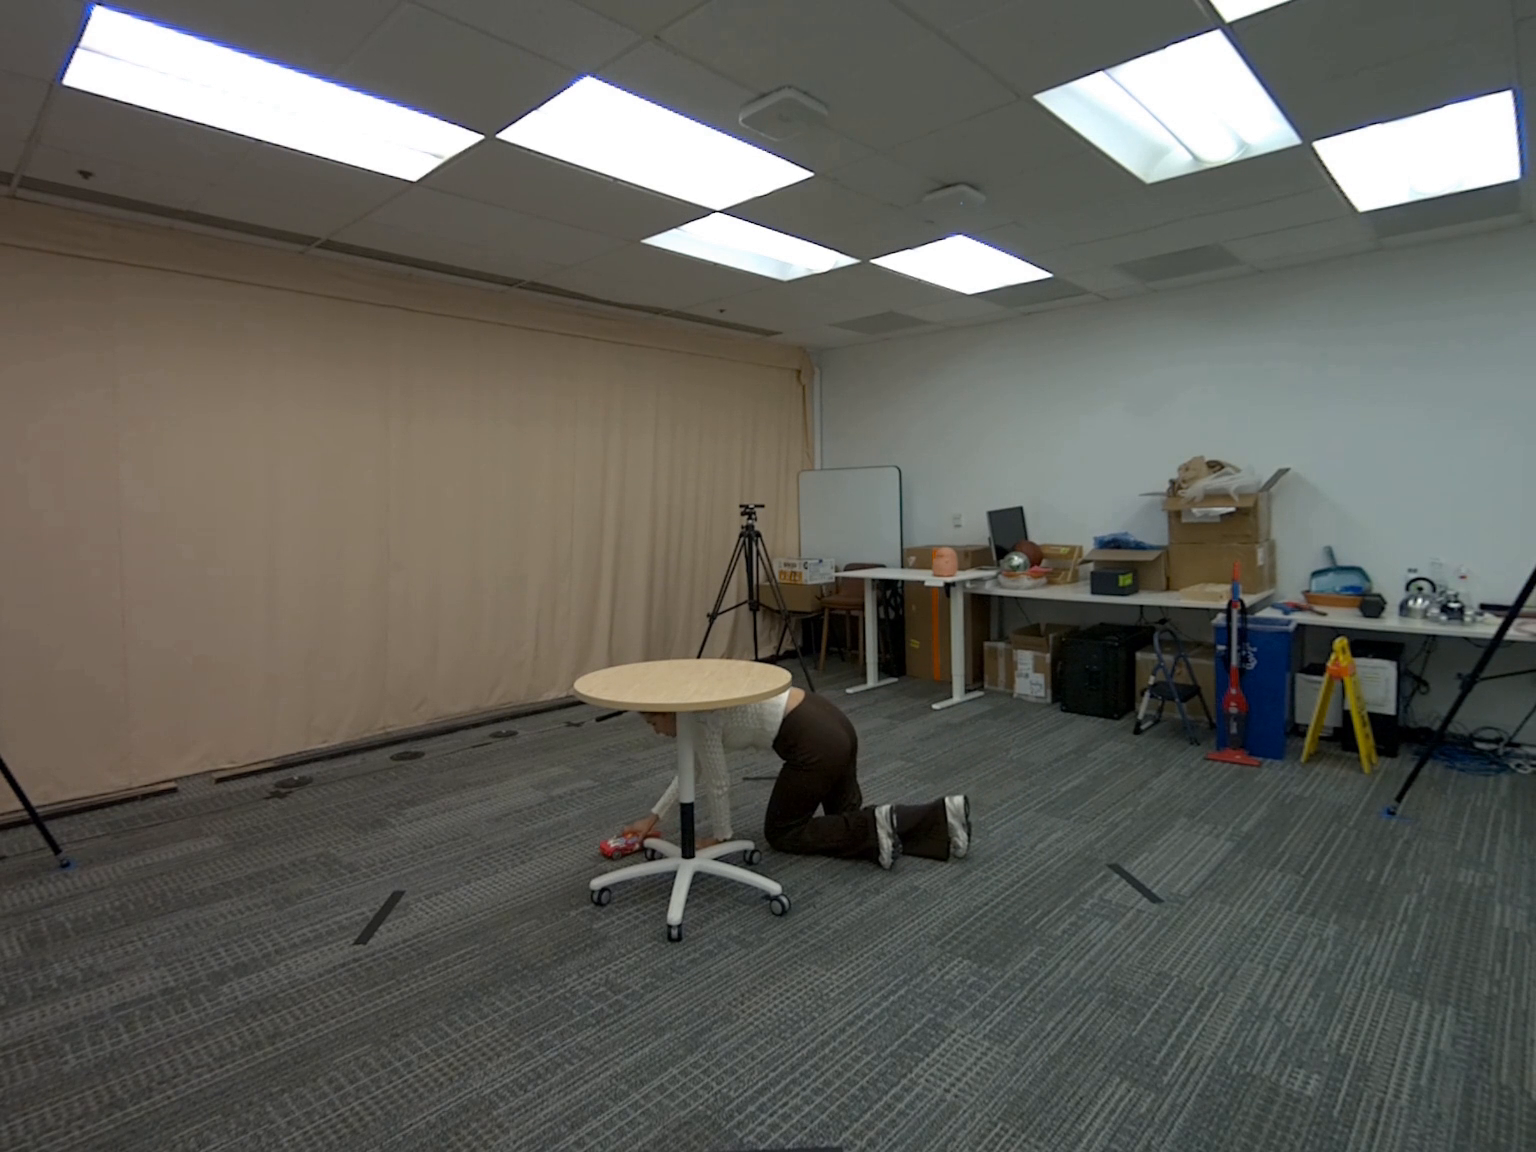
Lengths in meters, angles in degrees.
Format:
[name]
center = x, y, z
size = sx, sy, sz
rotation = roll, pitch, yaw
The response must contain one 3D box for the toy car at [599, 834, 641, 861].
[toy car]
center = -0.555, 1.086, 3.431
size = 0.249, 0.082, 0.134
rotation = -17, 12, -33
